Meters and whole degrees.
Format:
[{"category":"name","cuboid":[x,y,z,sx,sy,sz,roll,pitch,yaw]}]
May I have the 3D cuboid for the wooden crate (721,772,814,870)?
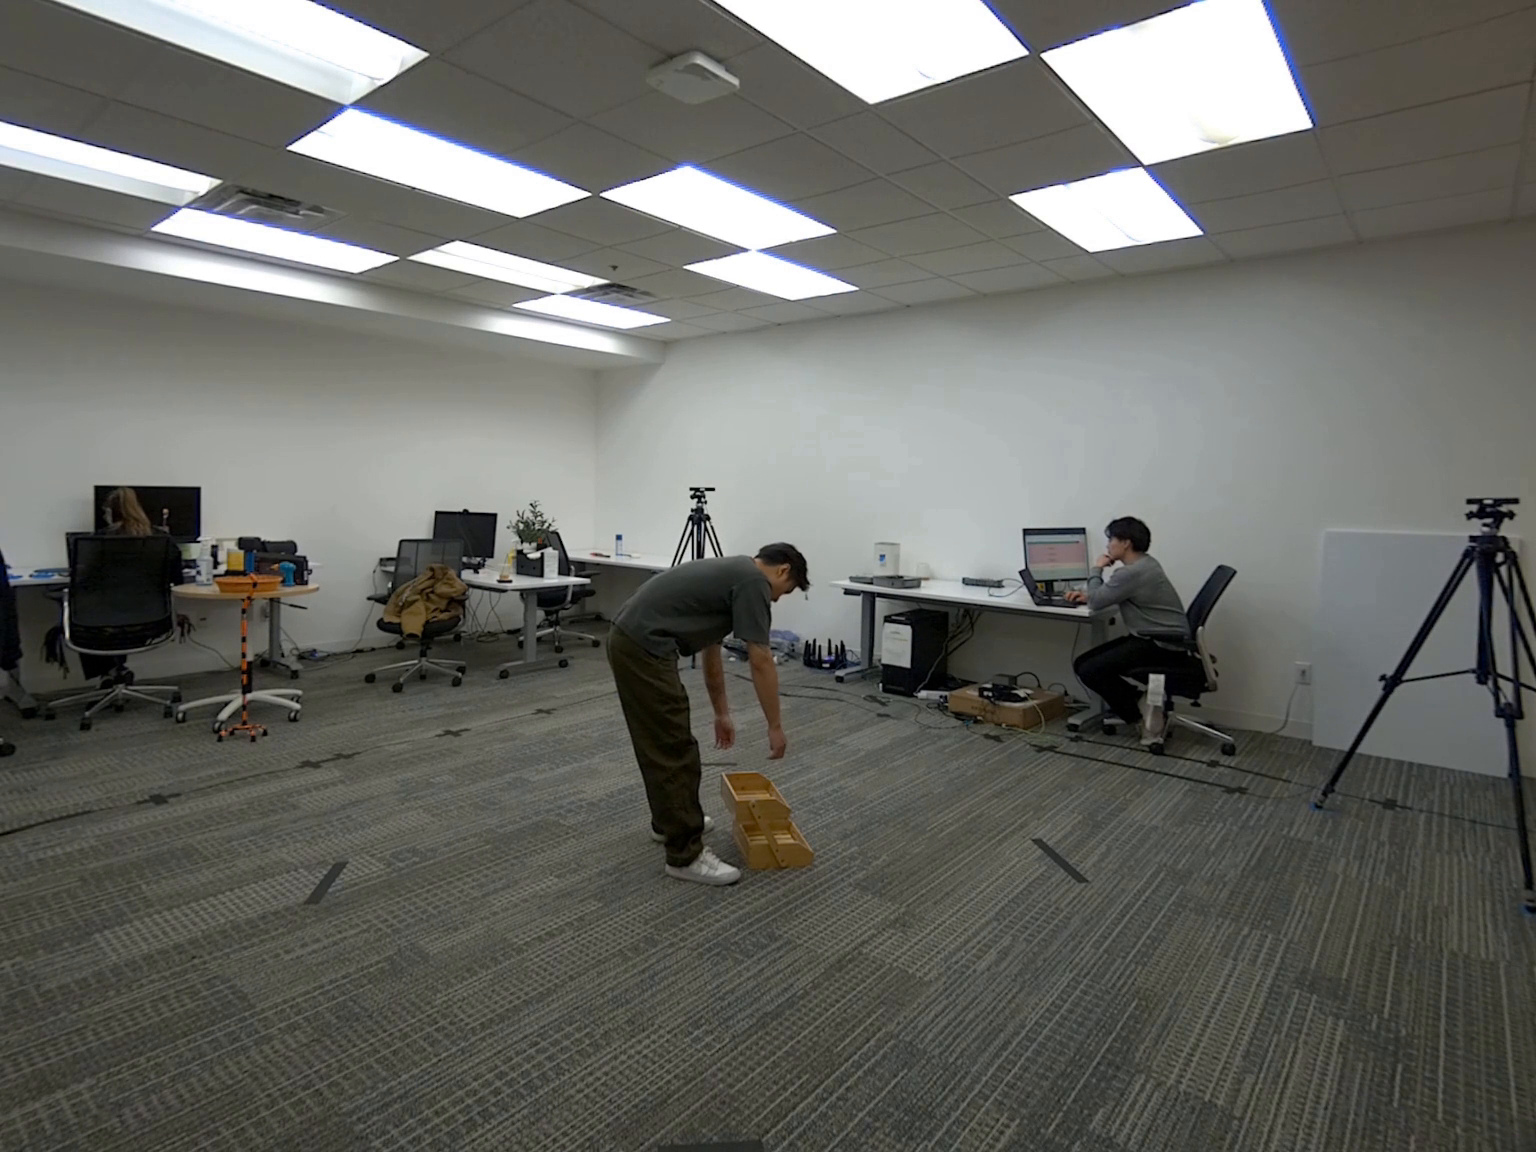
[{"category":"wooden crate","cuboid":[-0.005,0.929,3.259,0.298,0.272,0.330,1,4,-13]}]
